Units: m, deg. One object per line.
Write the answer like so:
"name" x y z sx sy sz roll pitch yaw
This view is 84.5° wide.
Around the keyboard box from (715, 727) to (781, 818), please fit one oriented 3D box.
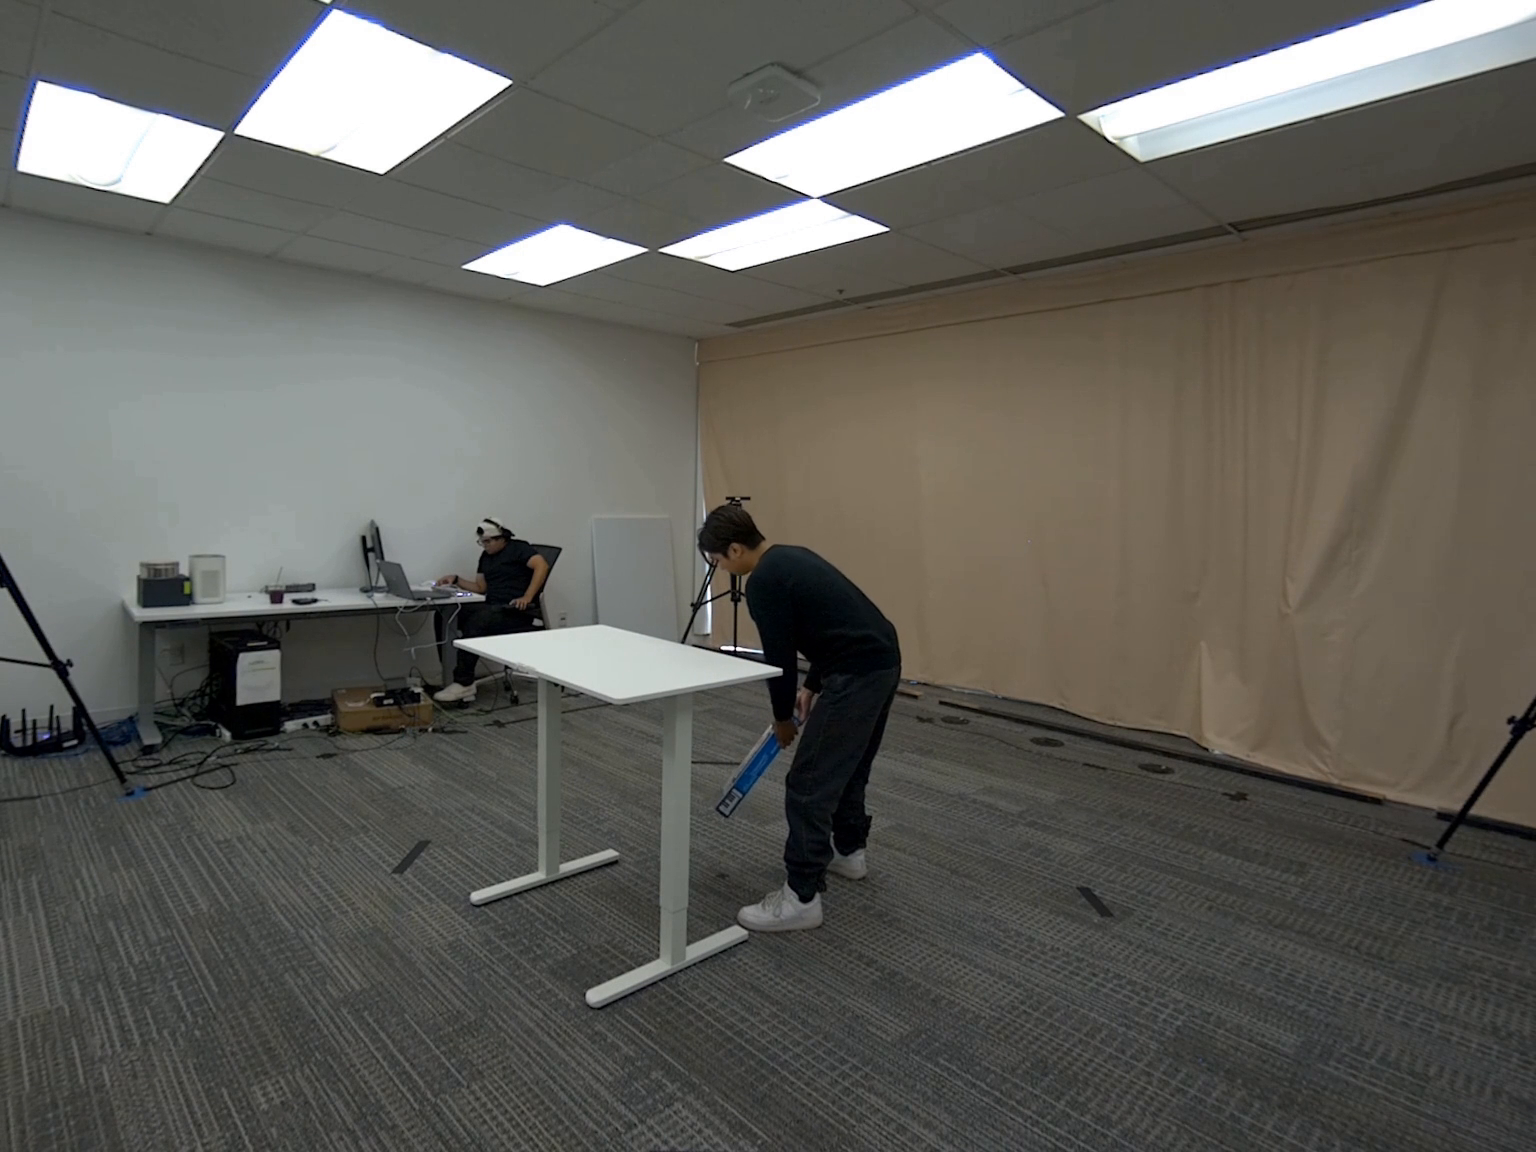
"keyboard box" -0.042 0.686 3.119 0.059 0.437 0.176 36 -6 -2
